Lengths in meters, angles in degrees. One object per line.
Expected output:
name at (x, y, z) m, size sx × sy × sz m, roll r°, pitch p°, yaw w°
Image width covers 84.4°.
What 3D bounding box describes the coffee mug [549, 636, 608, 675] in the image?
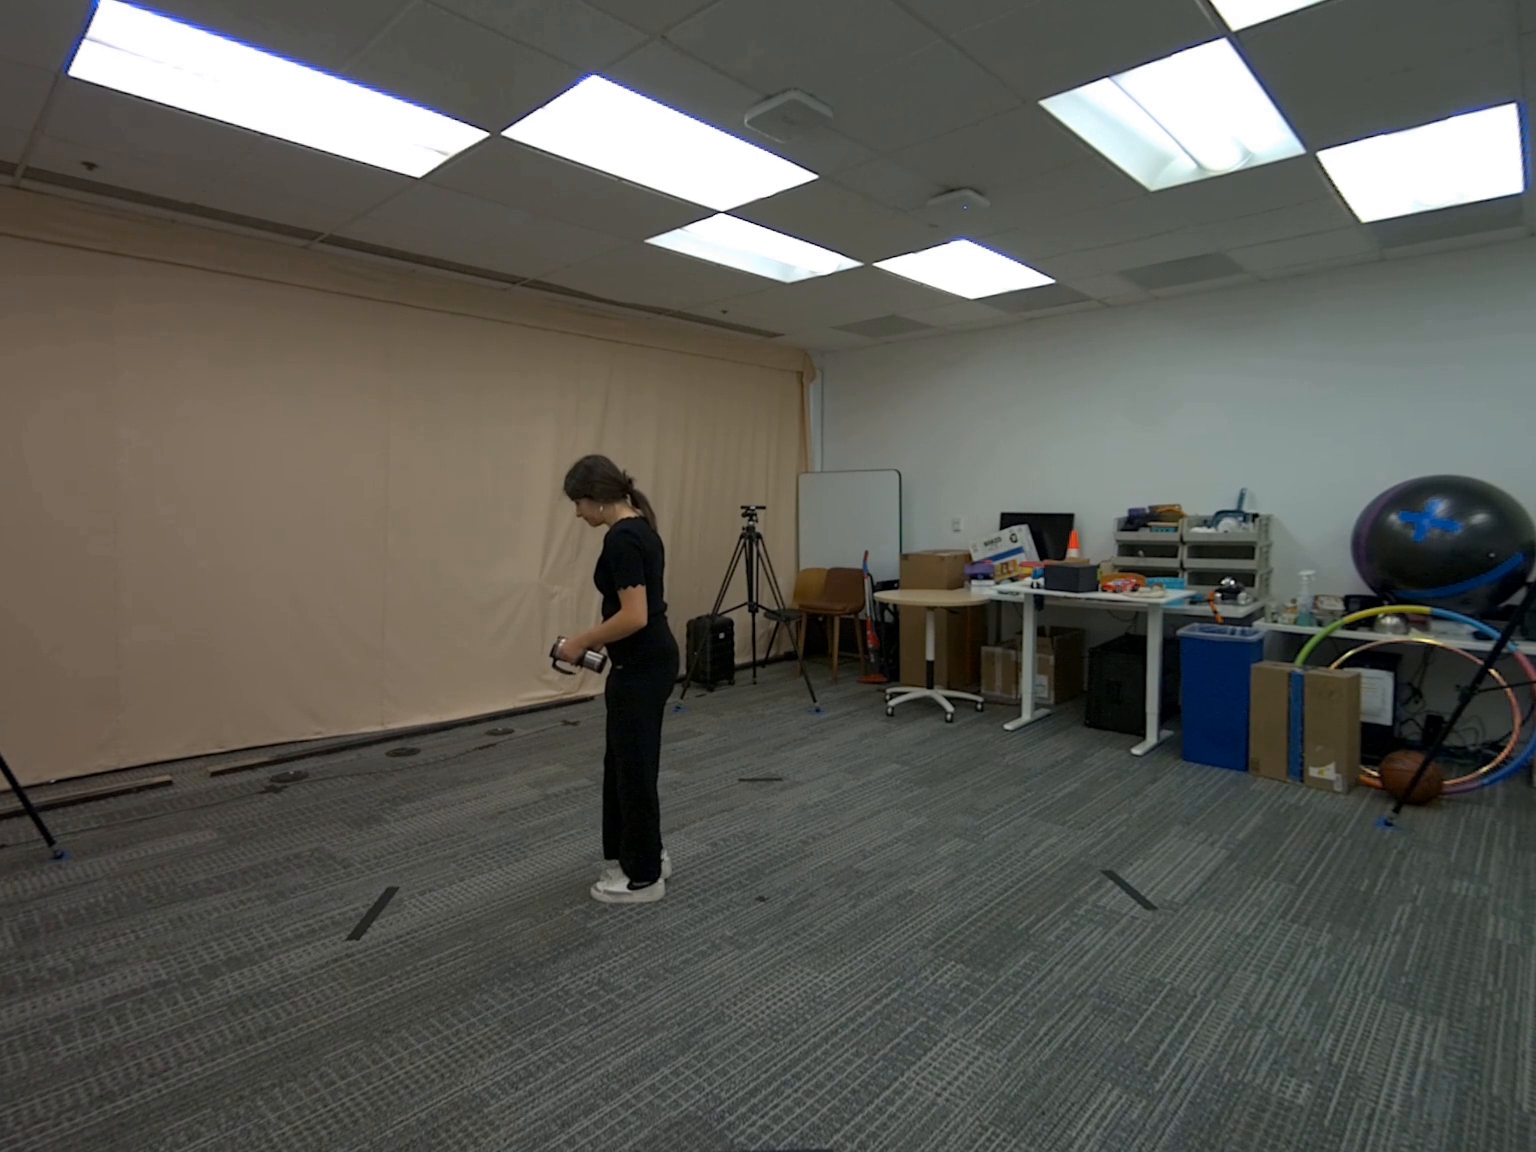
coffee mug at (-0.702, 0.318, 3.111) m, size 0.203 × 0.122 × 0.087 m, roll 22°, pitch -14°, yaw 2°
